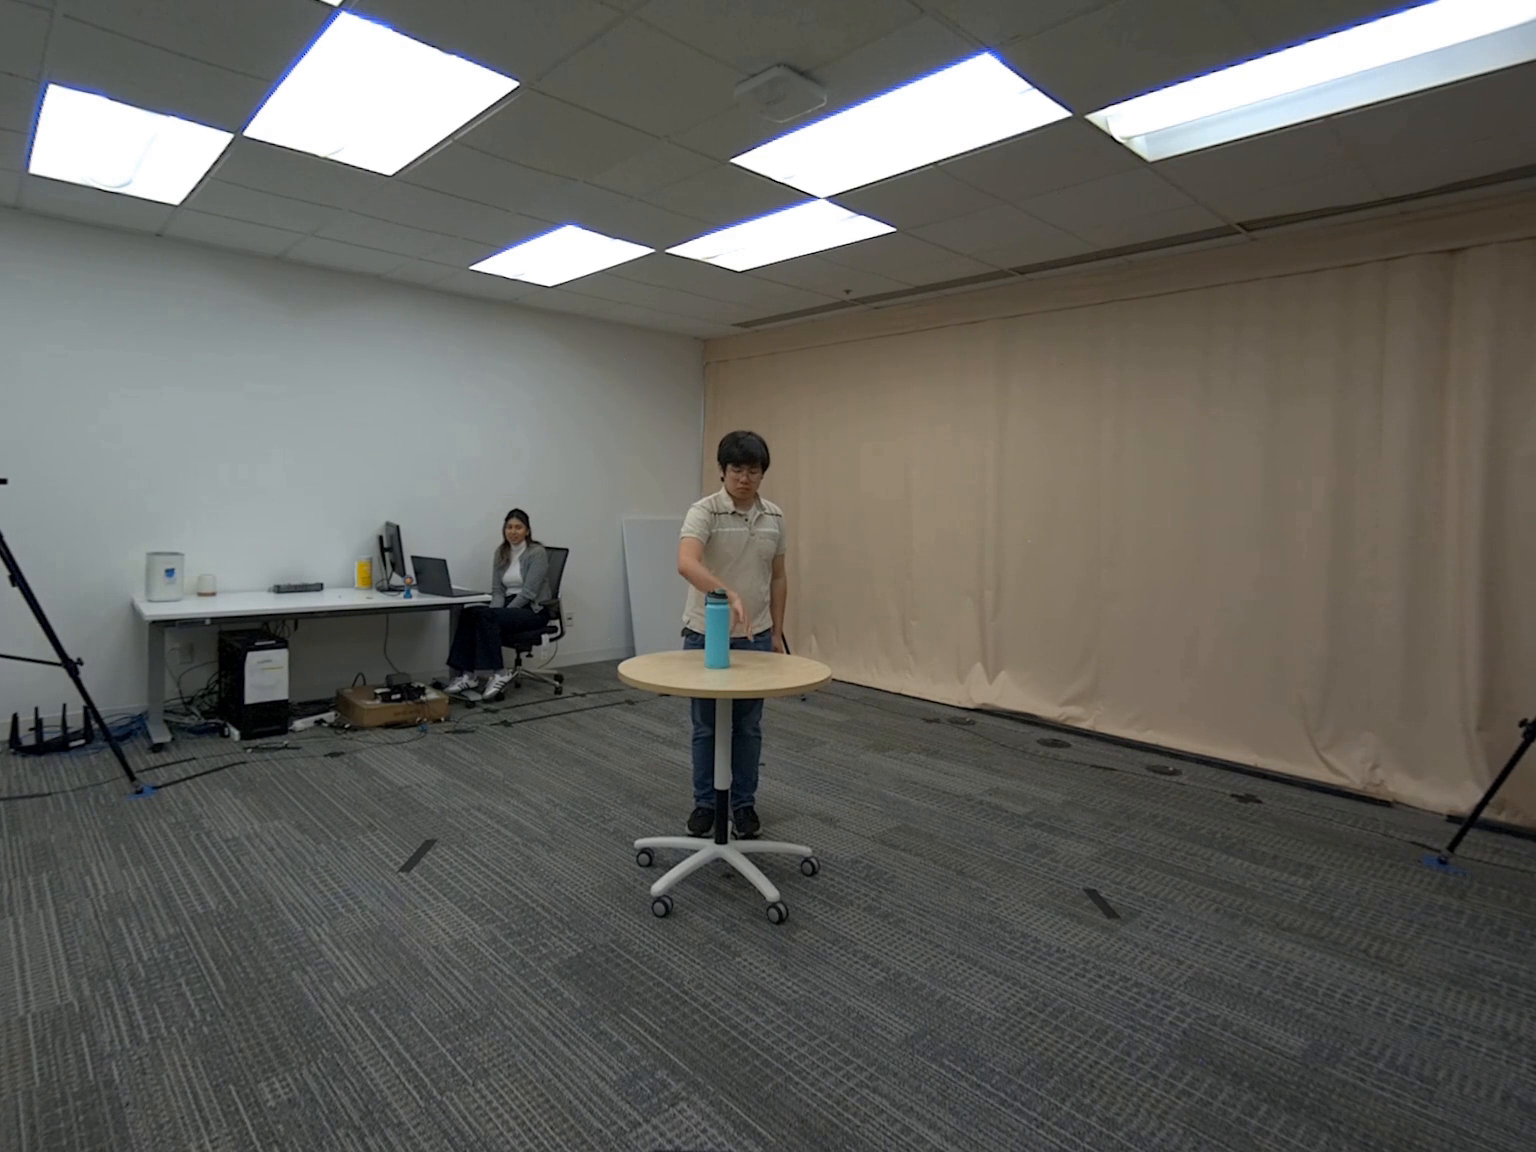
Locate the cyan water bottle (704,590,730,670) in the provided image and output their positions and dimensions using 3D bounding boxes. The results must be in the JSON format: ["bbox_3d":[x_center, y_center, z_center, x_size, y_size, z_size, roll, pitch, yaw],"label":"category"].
[{"bbox_3d":[-0.193,0.188,3.036,0.092,0.283,0.092,0,1,-1],"label":"cyan water bottle"}]
